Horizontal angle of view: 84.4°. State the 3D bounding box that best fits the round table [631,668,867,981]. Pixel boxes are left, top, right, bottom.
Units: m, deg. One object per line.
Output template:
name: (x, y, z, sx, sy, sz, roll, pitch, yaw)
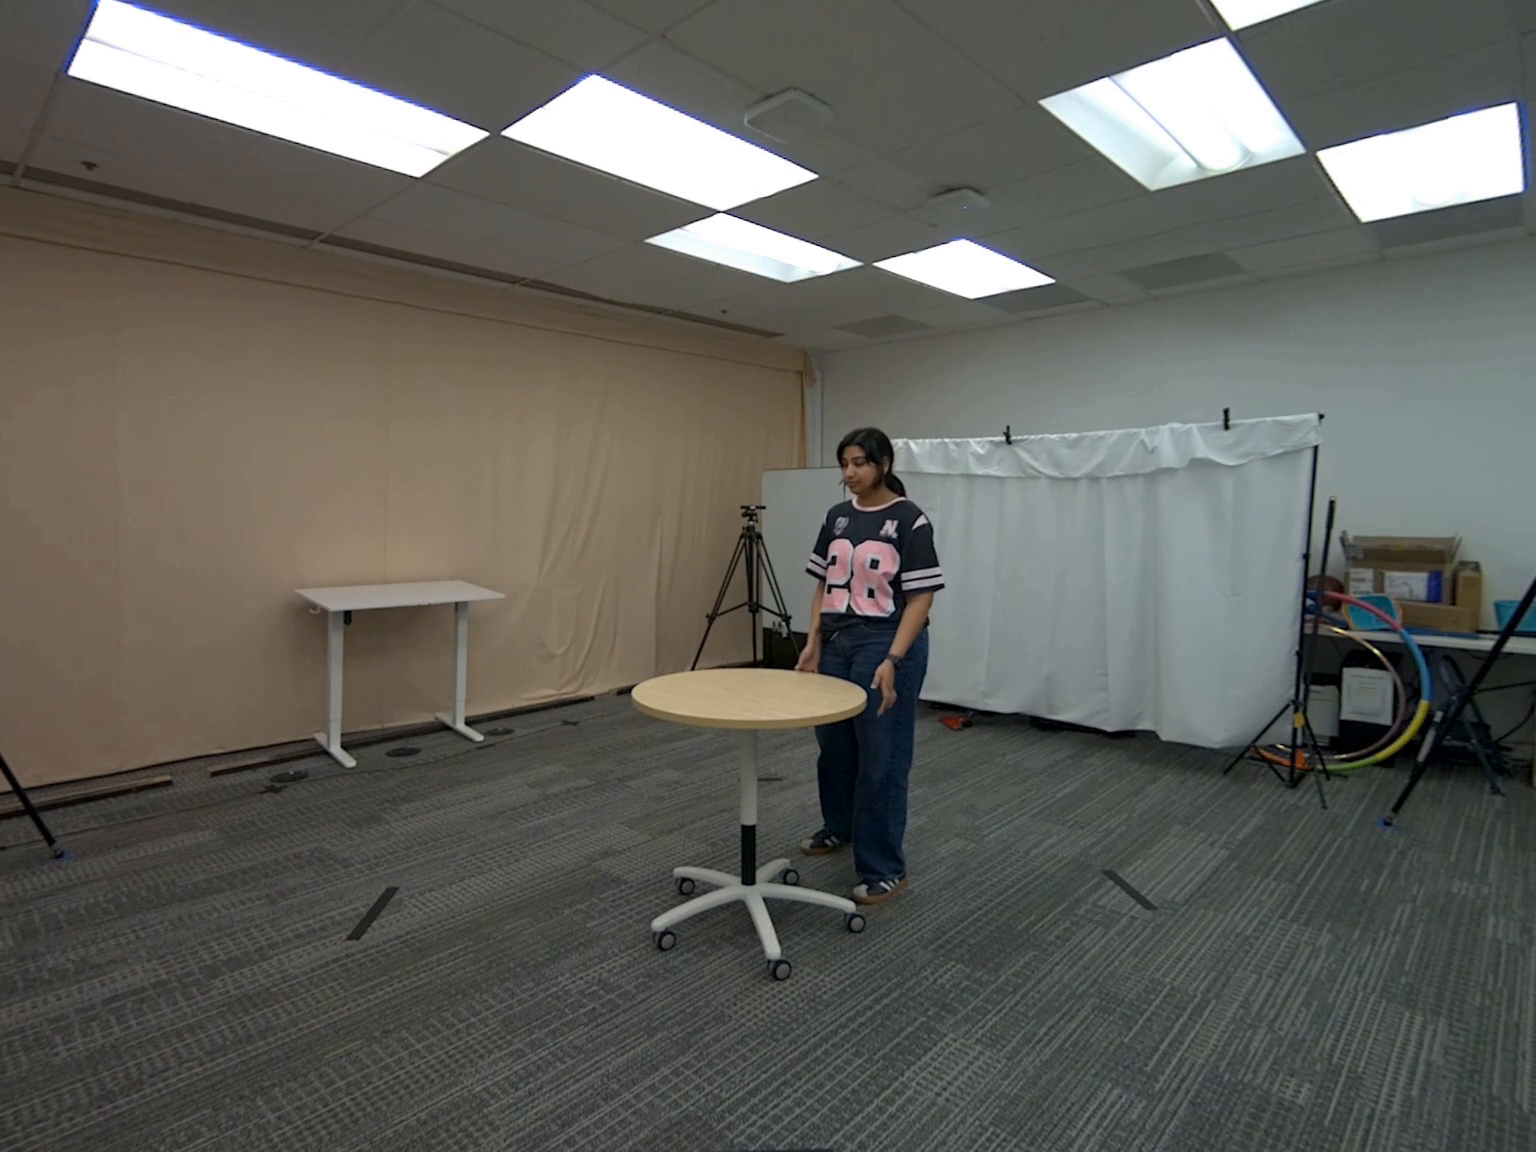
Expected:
round table: (-0.076, 0.767, 2.779, 0.784, 0.785, 0.788, 0, 4, -2)
